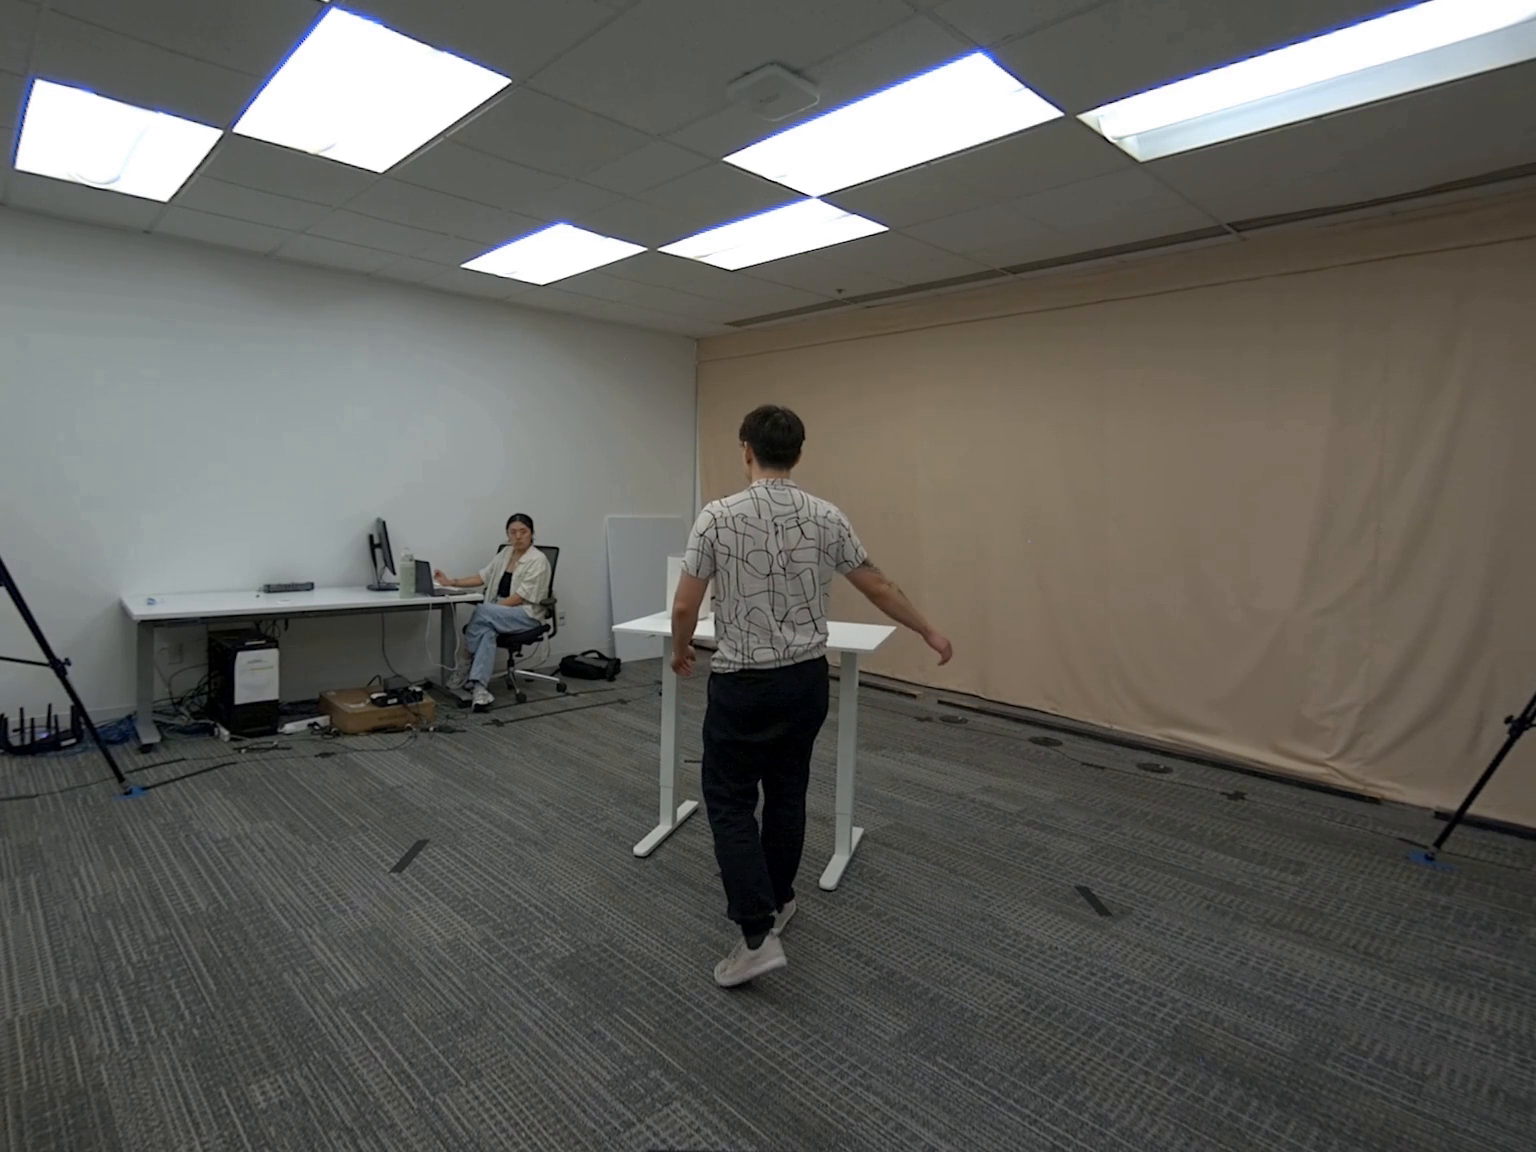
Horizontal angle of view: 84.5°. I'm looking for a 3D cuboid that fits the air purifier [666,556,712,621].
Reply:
[{"bbox_3d":[-0.328,0.051,3.504,0.173,0.265,0.170,4,3,11],"label":"air purifier"}]
